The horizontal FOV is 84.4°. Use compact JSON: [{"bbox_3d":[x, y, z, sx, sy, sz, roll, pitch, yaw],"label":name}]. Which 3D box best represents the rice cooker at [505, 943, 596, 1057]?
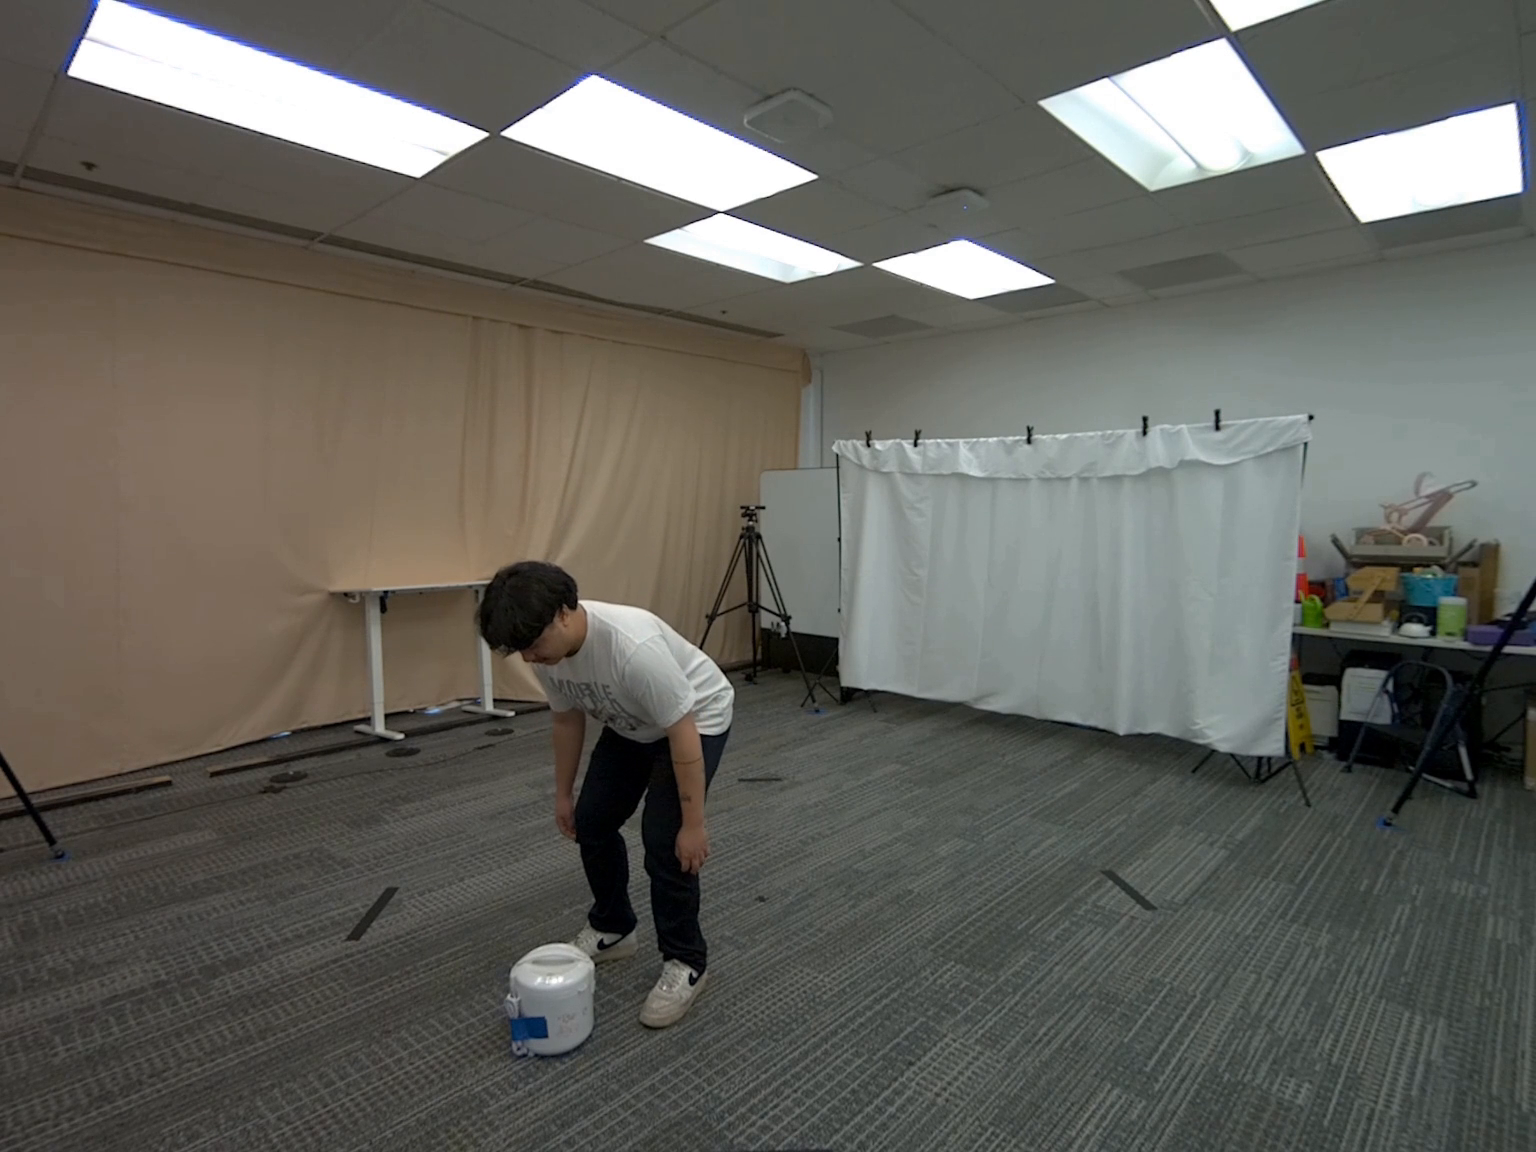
[{"bbox_3d":[-0.563,1.091,2.213,0.220,0.232,0.219,0,5,-5],"label":"rice cooker"}]
